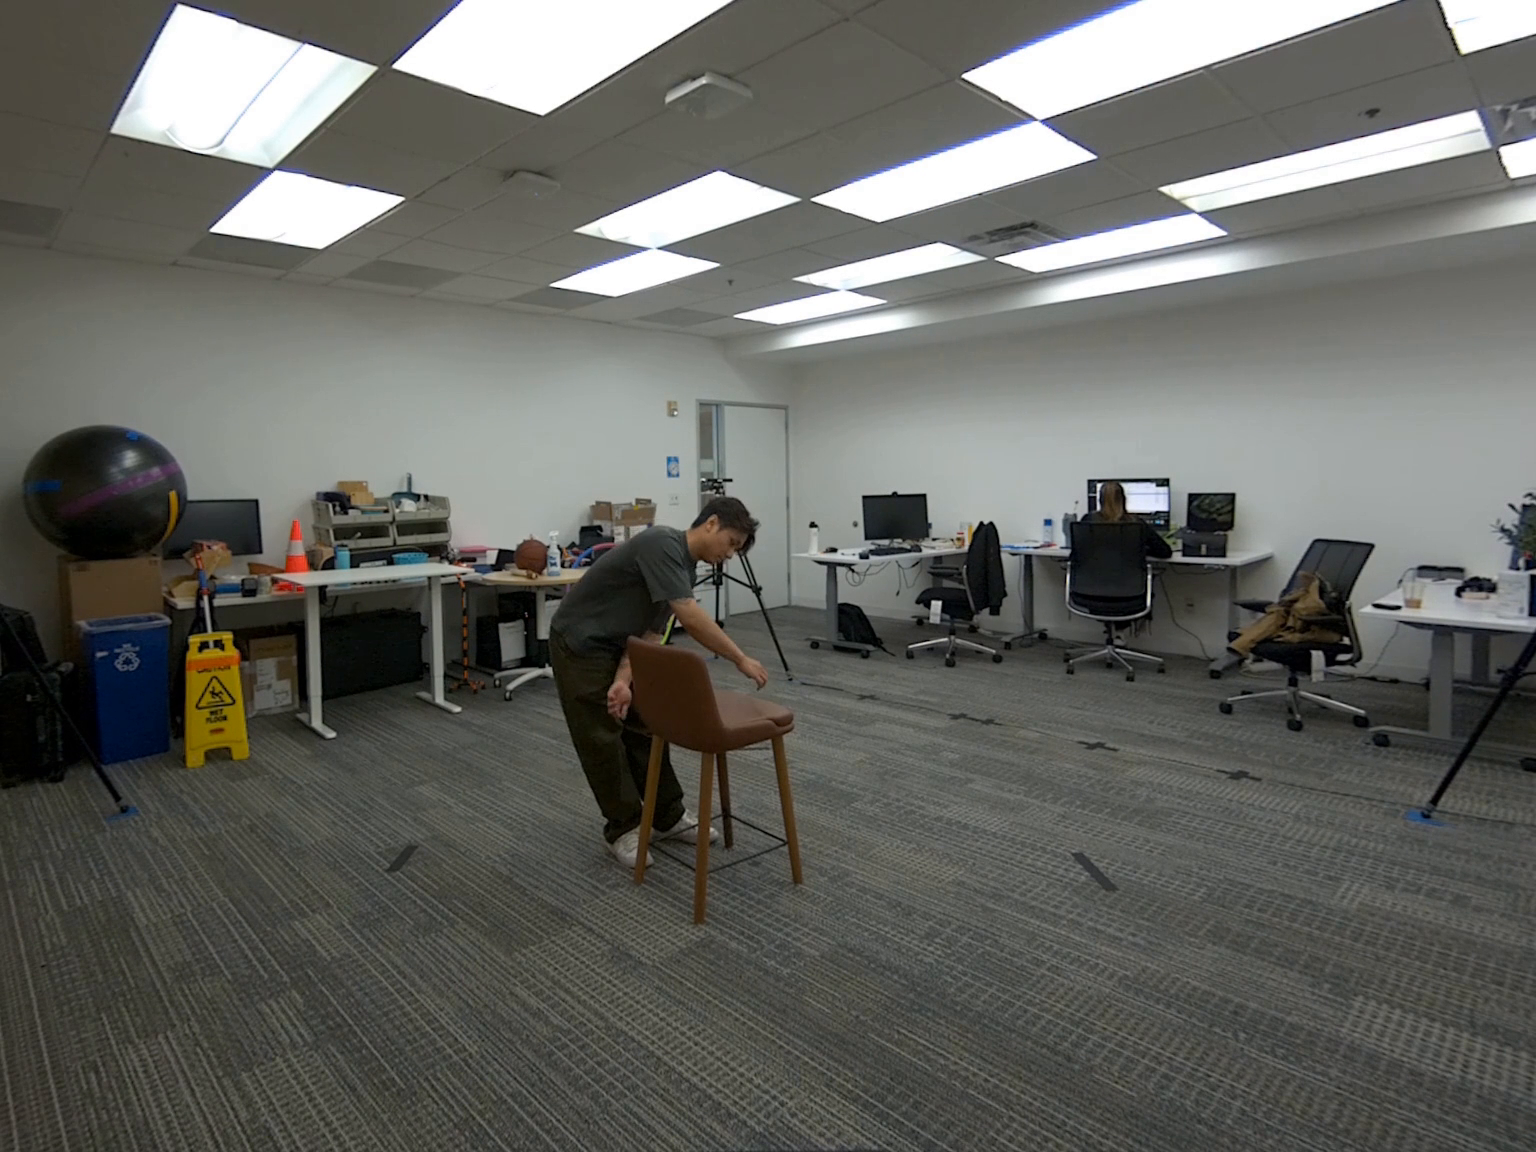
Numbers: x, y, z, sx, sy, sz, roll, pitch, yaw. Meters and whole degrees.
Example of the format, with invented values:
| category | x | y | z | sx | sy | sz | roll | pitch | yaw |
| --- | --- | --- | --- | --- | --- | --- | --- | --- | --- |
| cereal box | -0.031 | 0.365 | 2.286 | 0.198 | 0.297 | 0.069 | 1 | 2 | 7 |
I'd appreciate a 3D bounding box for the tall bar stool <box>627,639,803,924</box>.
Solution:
| category | x | y | z | sx | sy | sz | roll | pitch | yaw |
| --- | --- | --- | --- | --- | --- | --- | --- | --- | --- |
| tall bar stool | -0.181 | 0.631 | 2.932 | 0.456 | 0.886 | 0.470 | -6 | 7 | -40 |
